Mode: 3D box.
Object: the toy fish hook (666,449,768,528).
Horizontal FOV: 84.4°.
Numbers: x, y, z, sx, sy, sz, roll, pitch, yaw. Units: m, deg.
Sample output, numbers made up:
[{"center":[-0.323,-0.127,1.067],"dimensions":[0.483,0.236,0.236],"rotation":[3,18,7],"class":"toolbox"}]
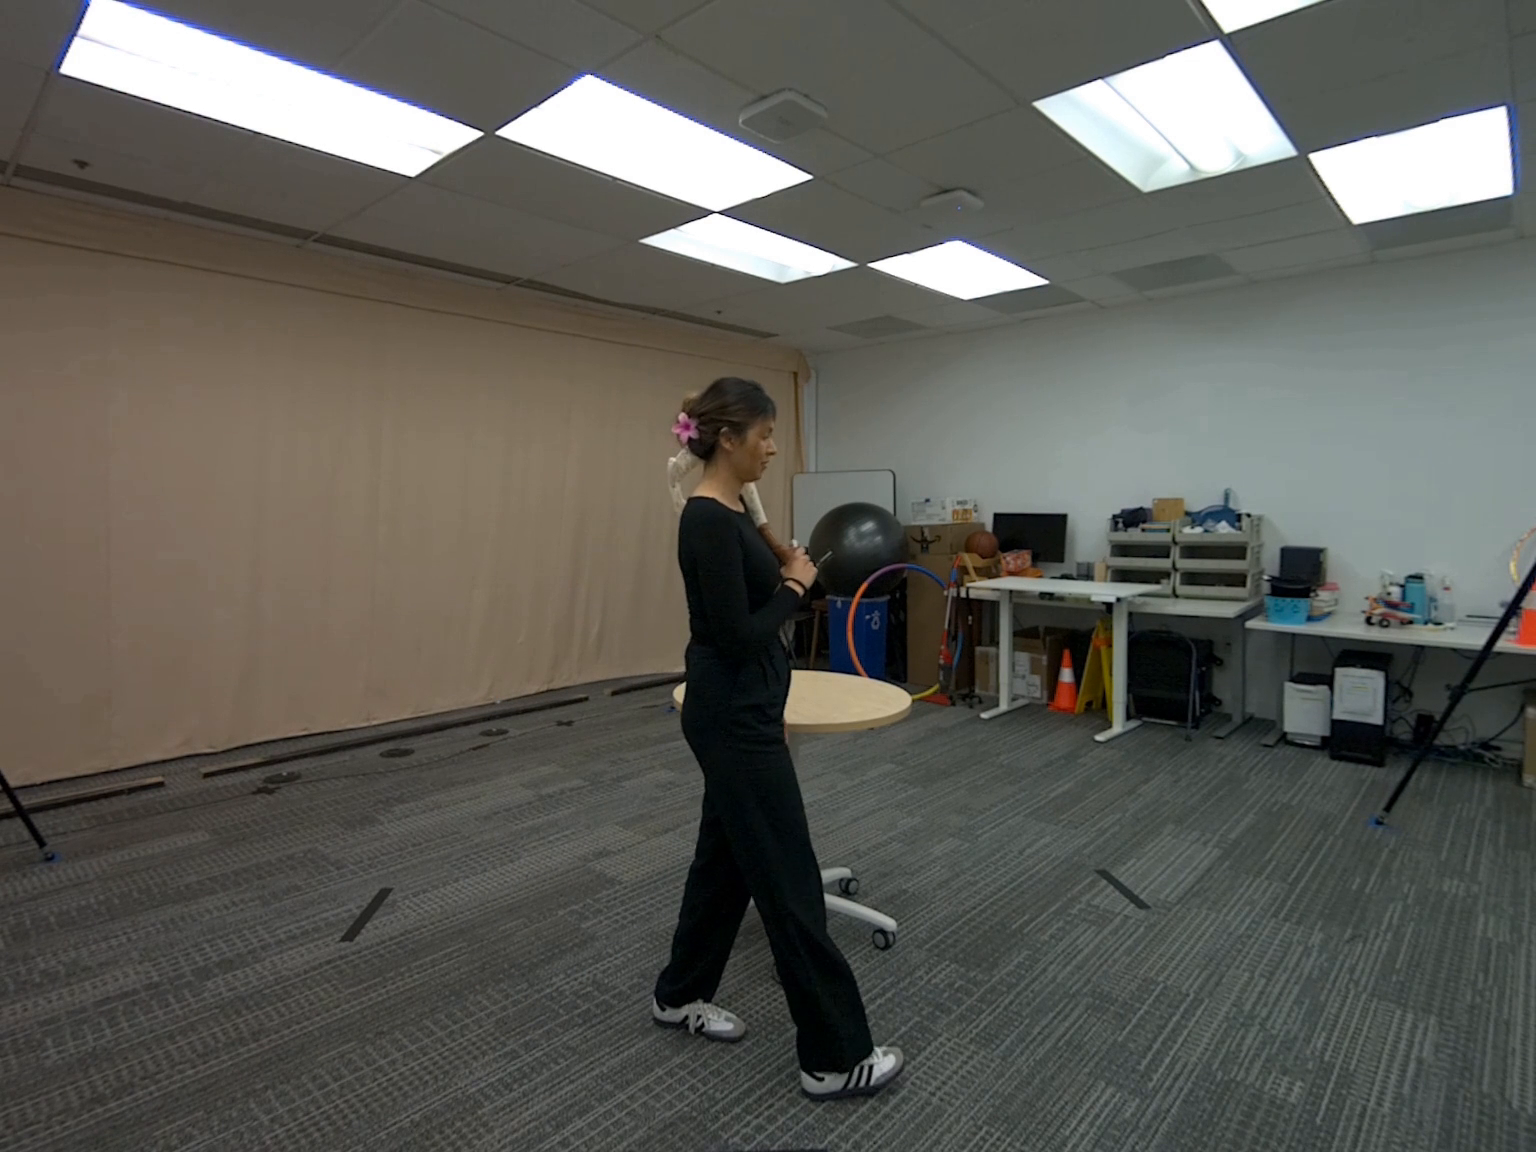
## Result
[{"center":[-0.065,-0.144,2.204],"dimensions":[0.226,0.514,0.047],"rotation":[-38,-13,12],"class":"toy fish hook"}]
